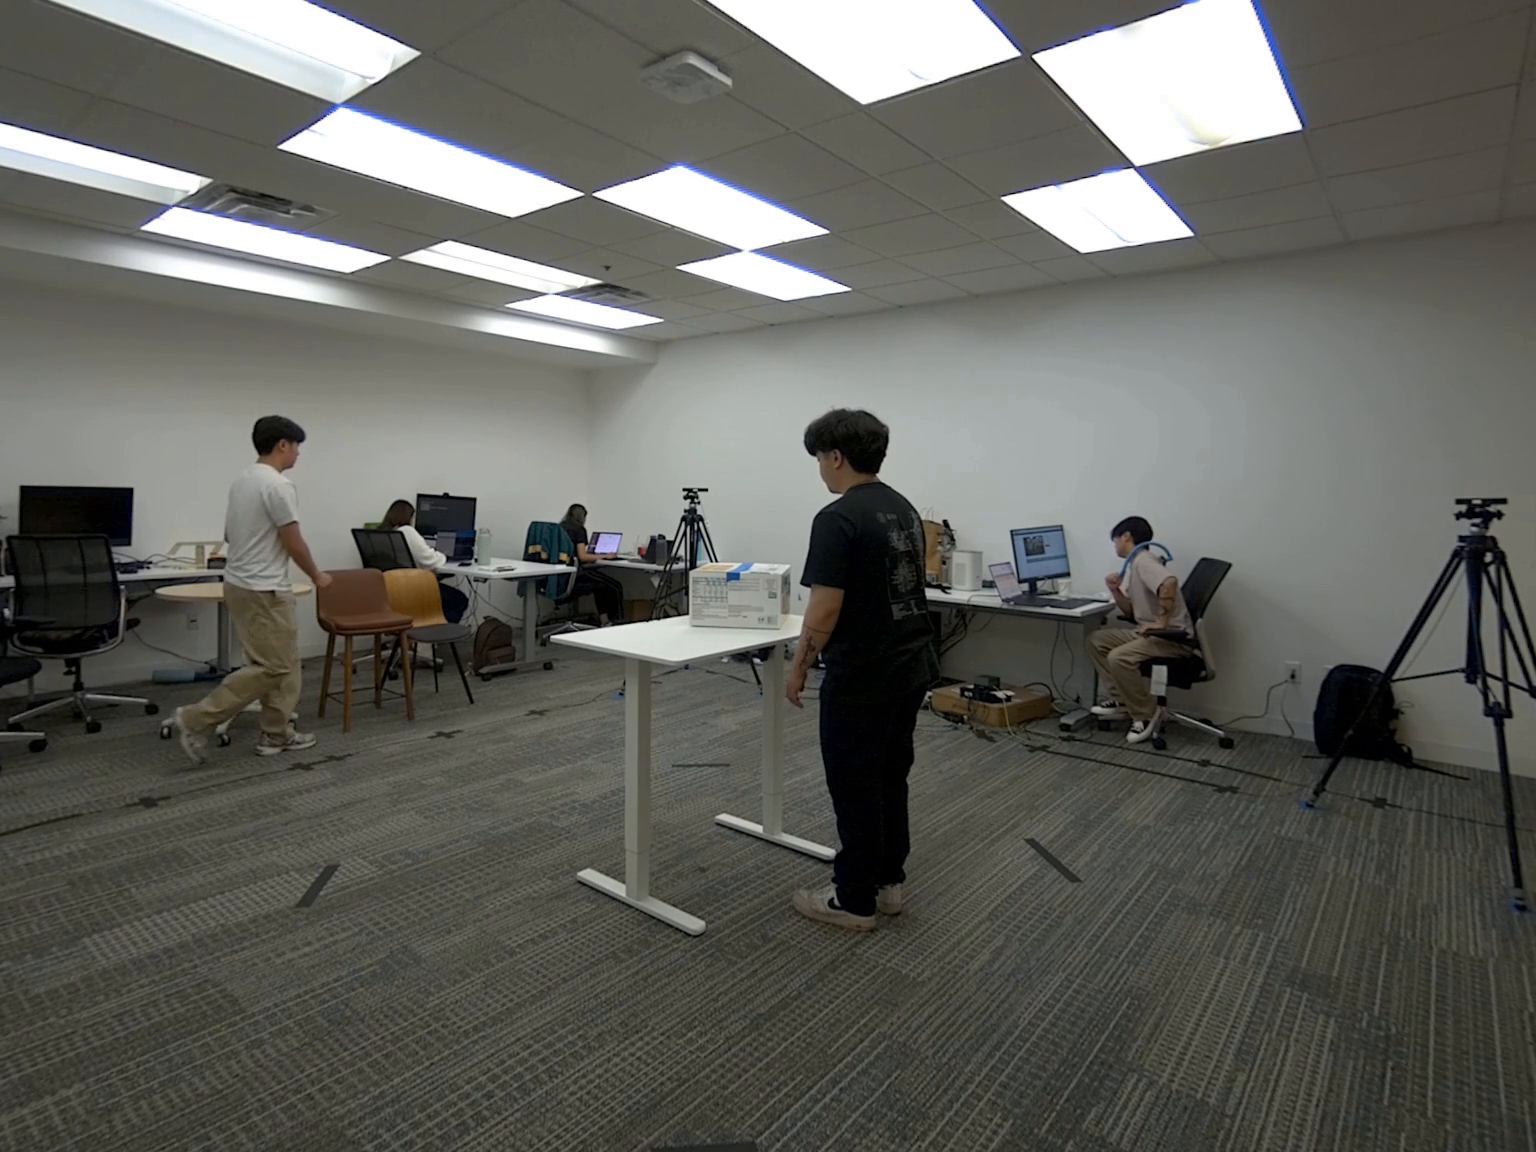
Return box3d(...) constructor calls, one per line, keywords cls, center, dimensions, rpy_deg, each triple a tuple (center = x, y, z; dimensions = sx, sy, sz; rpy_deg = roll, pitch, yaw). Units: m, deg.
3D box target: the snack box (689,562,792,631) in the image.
box3d(cls="snack box", center=(-0.106, 0.065, 3.287), dimensions=(0.344, 0.205, 0.403), rpy_deg=(1, 5, 8))
